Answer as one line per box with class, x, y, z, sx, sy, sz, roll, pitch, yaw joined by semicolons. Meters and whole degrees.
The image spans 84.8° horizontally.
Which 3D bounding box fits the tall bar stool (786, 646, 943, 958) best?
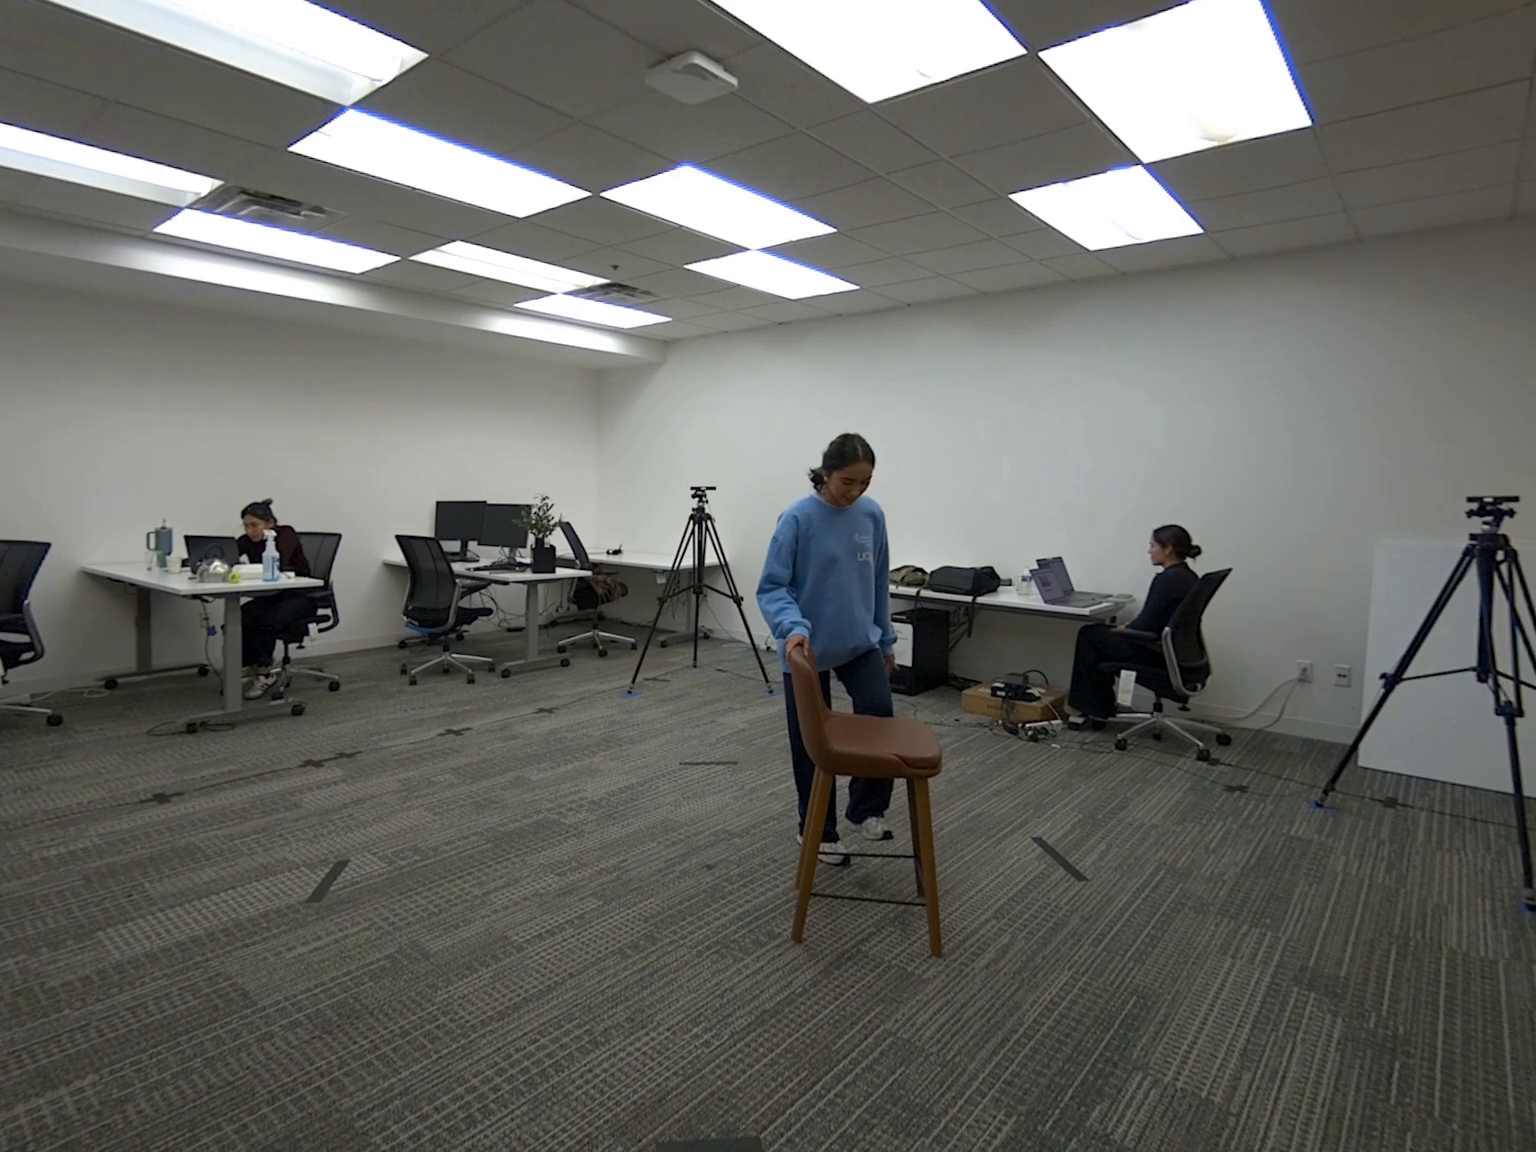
tall bar stool;0.312;0.673;2.750;0.471;0.888;0.454;0;2;6
